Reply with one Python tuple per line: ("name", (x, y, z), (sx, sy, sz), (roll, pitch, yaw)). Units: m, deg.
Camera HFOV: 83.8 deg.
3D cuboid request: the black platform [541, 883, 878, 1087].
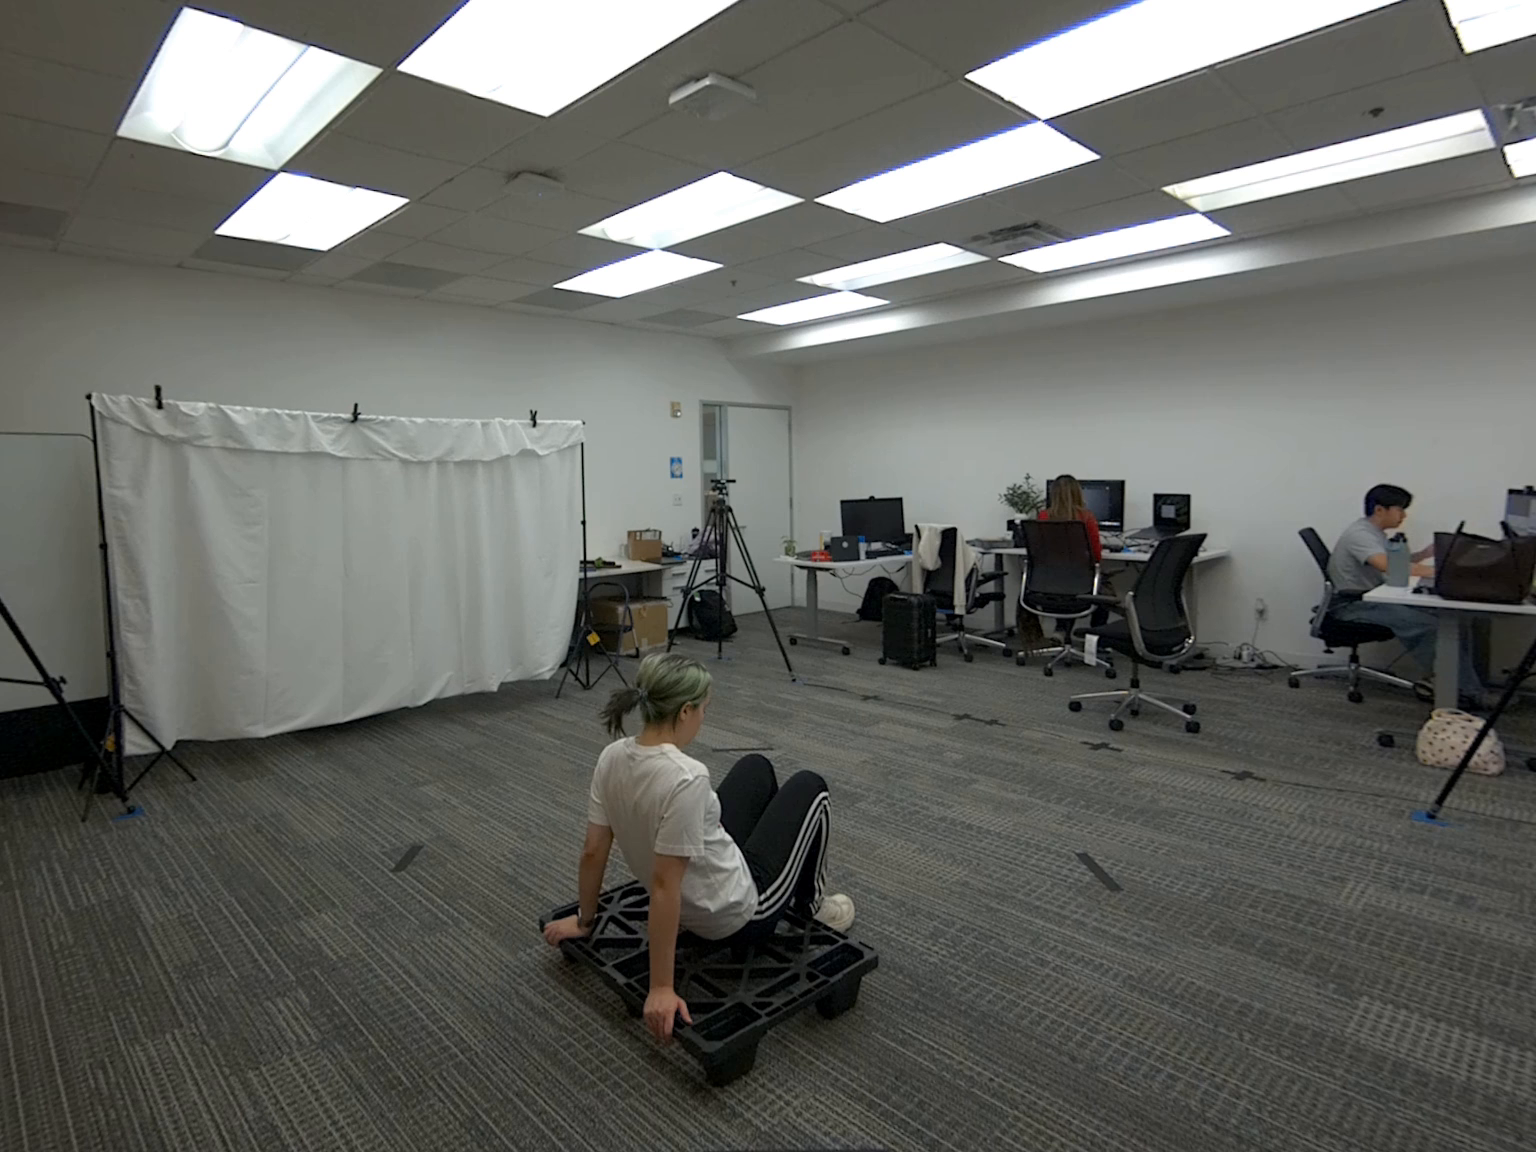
("black platform", (-0.185, 1.066, 2.399), (0.589, 0.143, 0.831), (-6, 8, -41))
